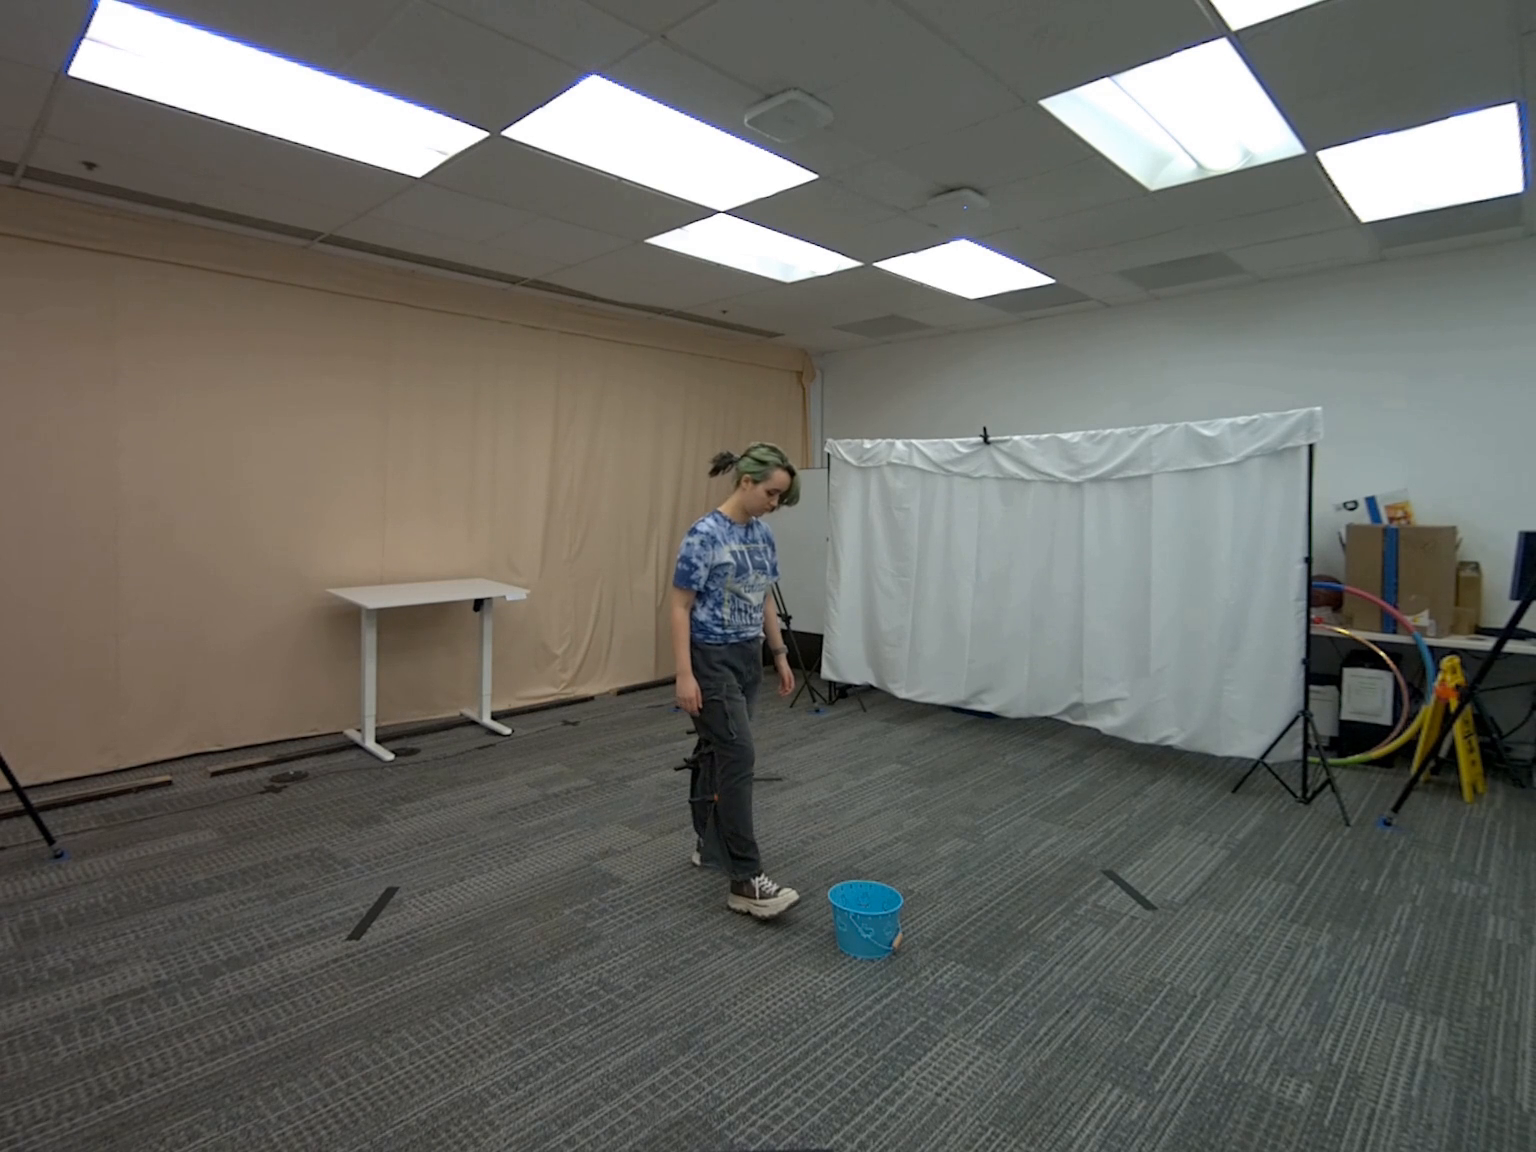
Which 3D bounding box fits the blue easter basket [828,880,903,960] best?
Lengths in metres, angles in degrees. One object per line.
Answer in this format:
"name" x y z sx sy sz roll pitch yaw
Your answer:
"blue easter basket" 0.313 1.092 2.666 0.243 0.155 0.244 0 4 -2
